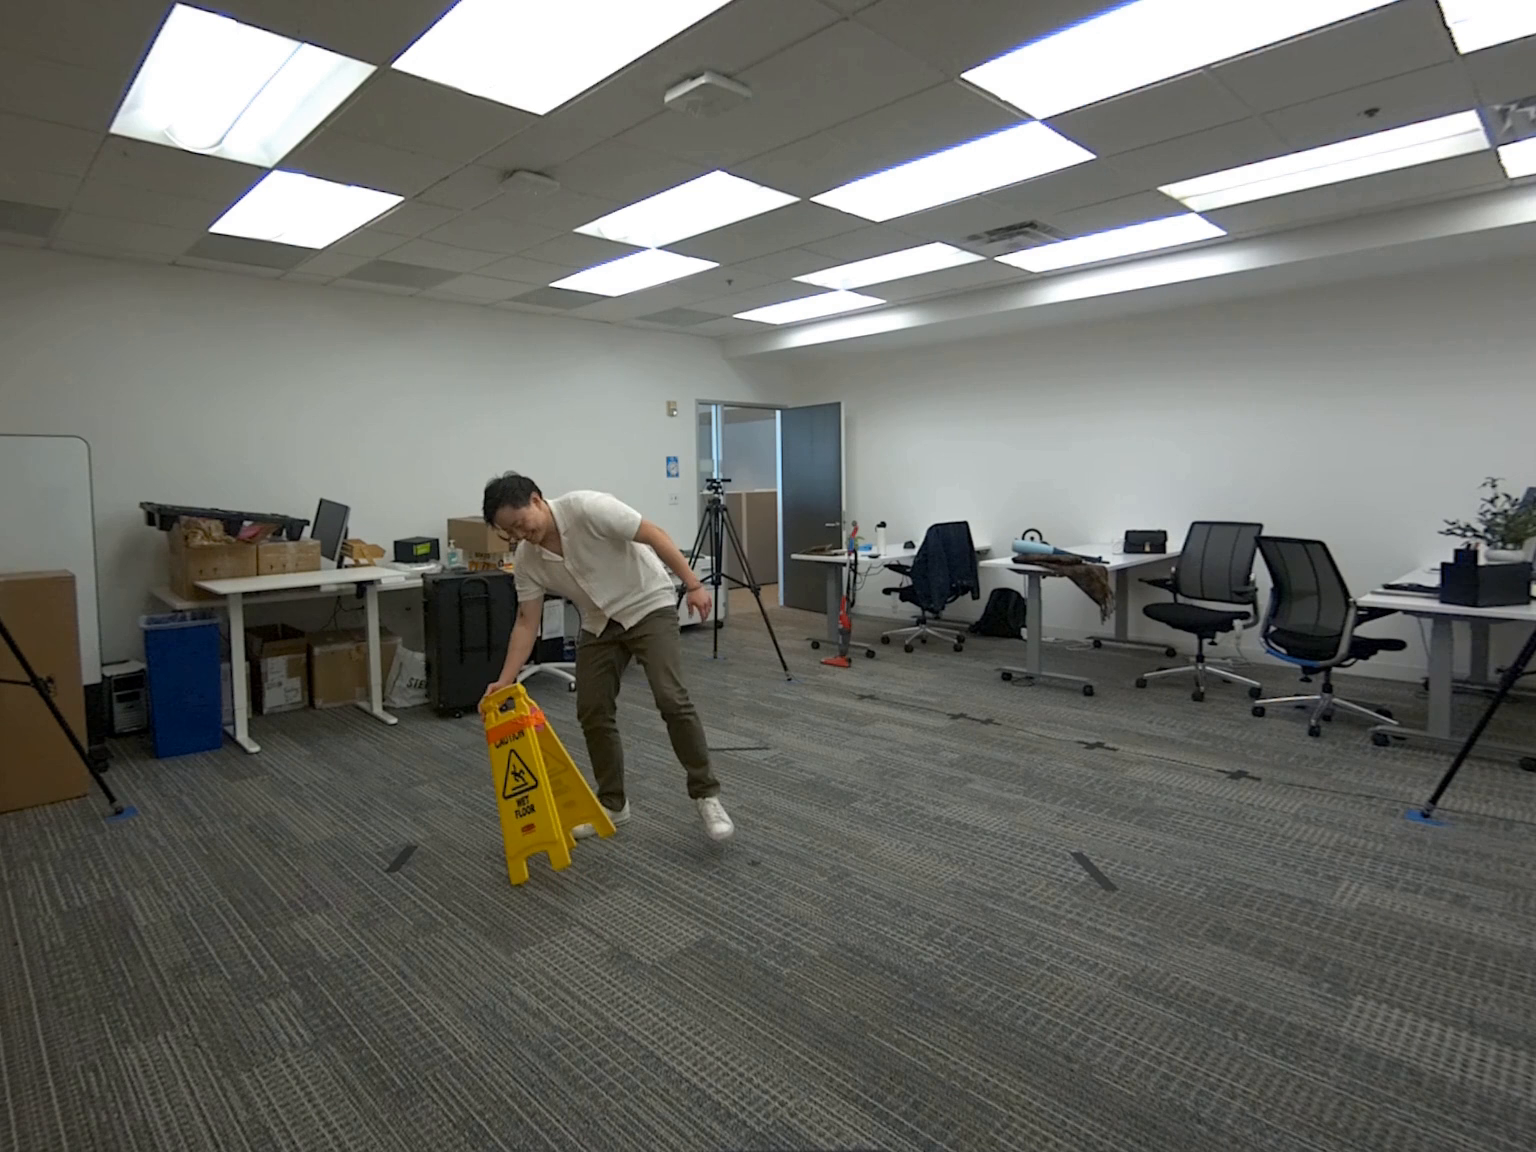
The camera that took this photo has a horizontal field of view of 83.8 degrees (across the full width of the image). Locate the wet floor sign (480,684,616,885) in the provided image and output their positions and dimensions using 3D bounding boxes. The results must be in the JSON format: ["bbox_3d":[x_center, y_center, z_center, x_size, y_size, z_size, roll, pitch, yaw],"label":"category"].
[{"bbox_3d":[-0.845,0.718,3.089,0.285,0.651,0.284,-27,-7,25],"label":"wet floor sign"}]
